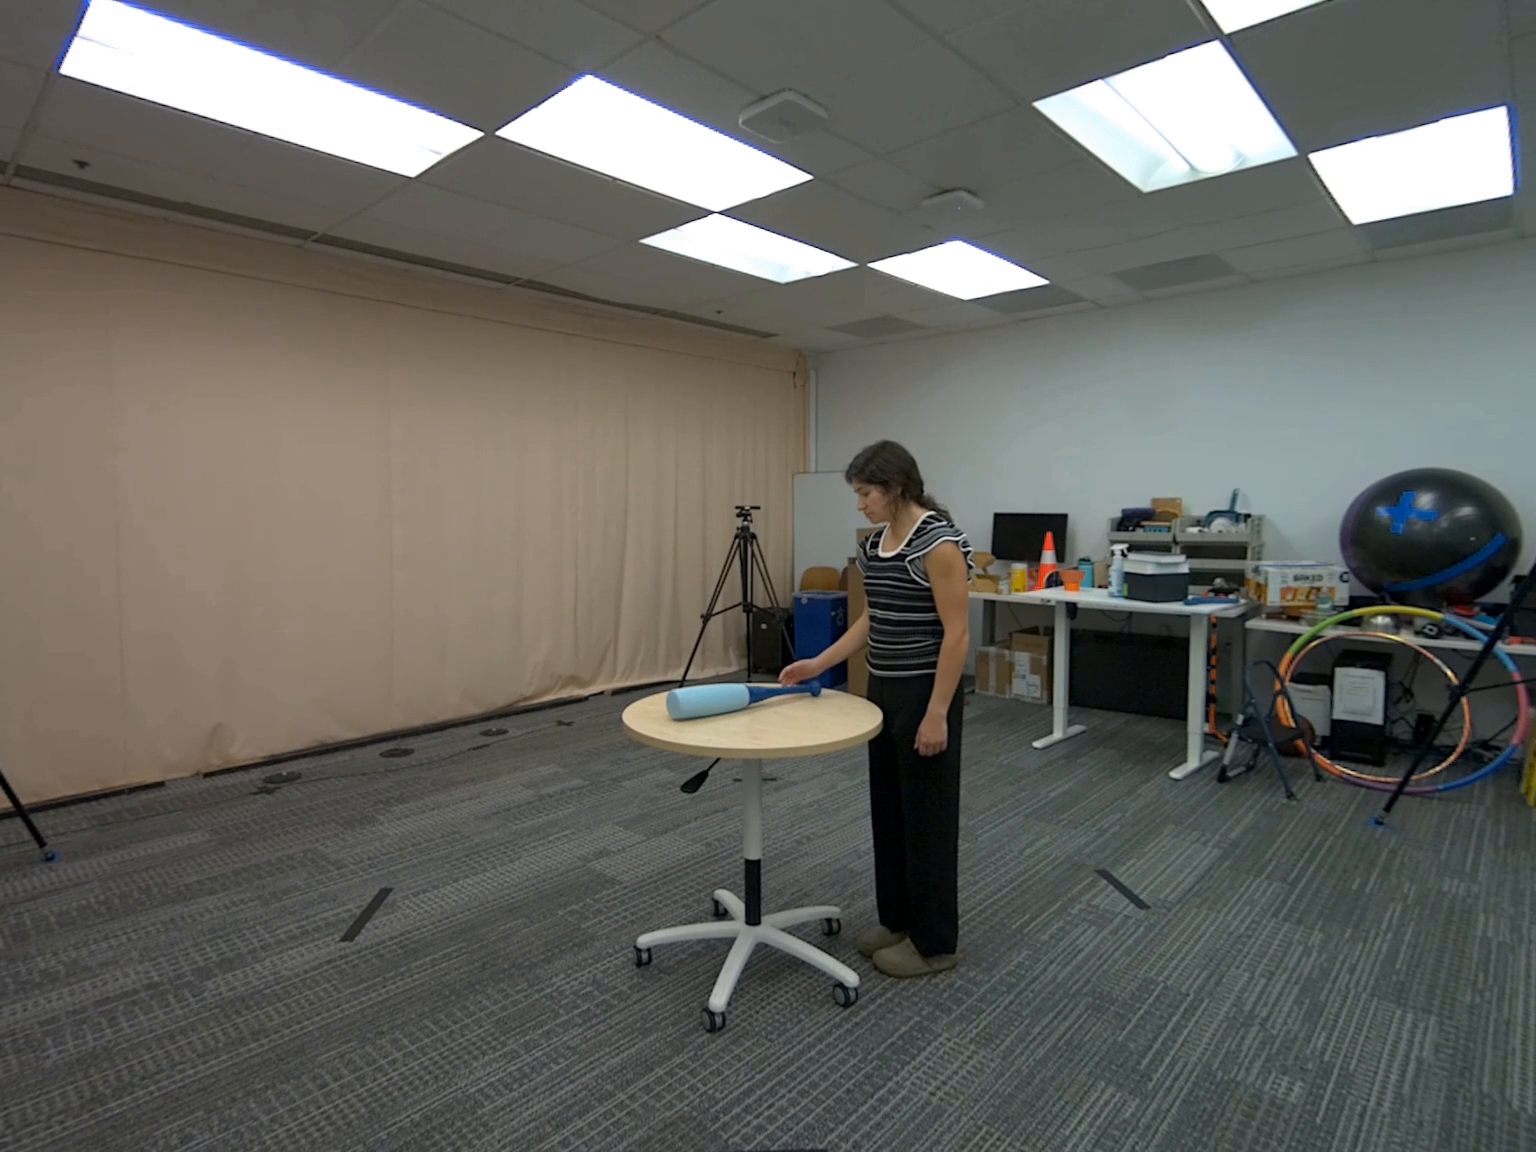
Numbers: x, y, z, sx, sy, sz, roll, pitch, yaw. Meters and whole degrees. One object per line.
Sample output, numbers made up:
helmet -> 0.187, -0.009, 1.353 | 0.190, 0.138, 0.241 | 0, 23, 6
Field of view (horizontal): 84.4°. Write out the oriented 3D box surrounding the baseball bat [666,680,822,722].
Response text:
baseball bat -> -0.050, 0.368, 2.535 | 0.527, 0.089, 0.092 | 0, 3, -32
